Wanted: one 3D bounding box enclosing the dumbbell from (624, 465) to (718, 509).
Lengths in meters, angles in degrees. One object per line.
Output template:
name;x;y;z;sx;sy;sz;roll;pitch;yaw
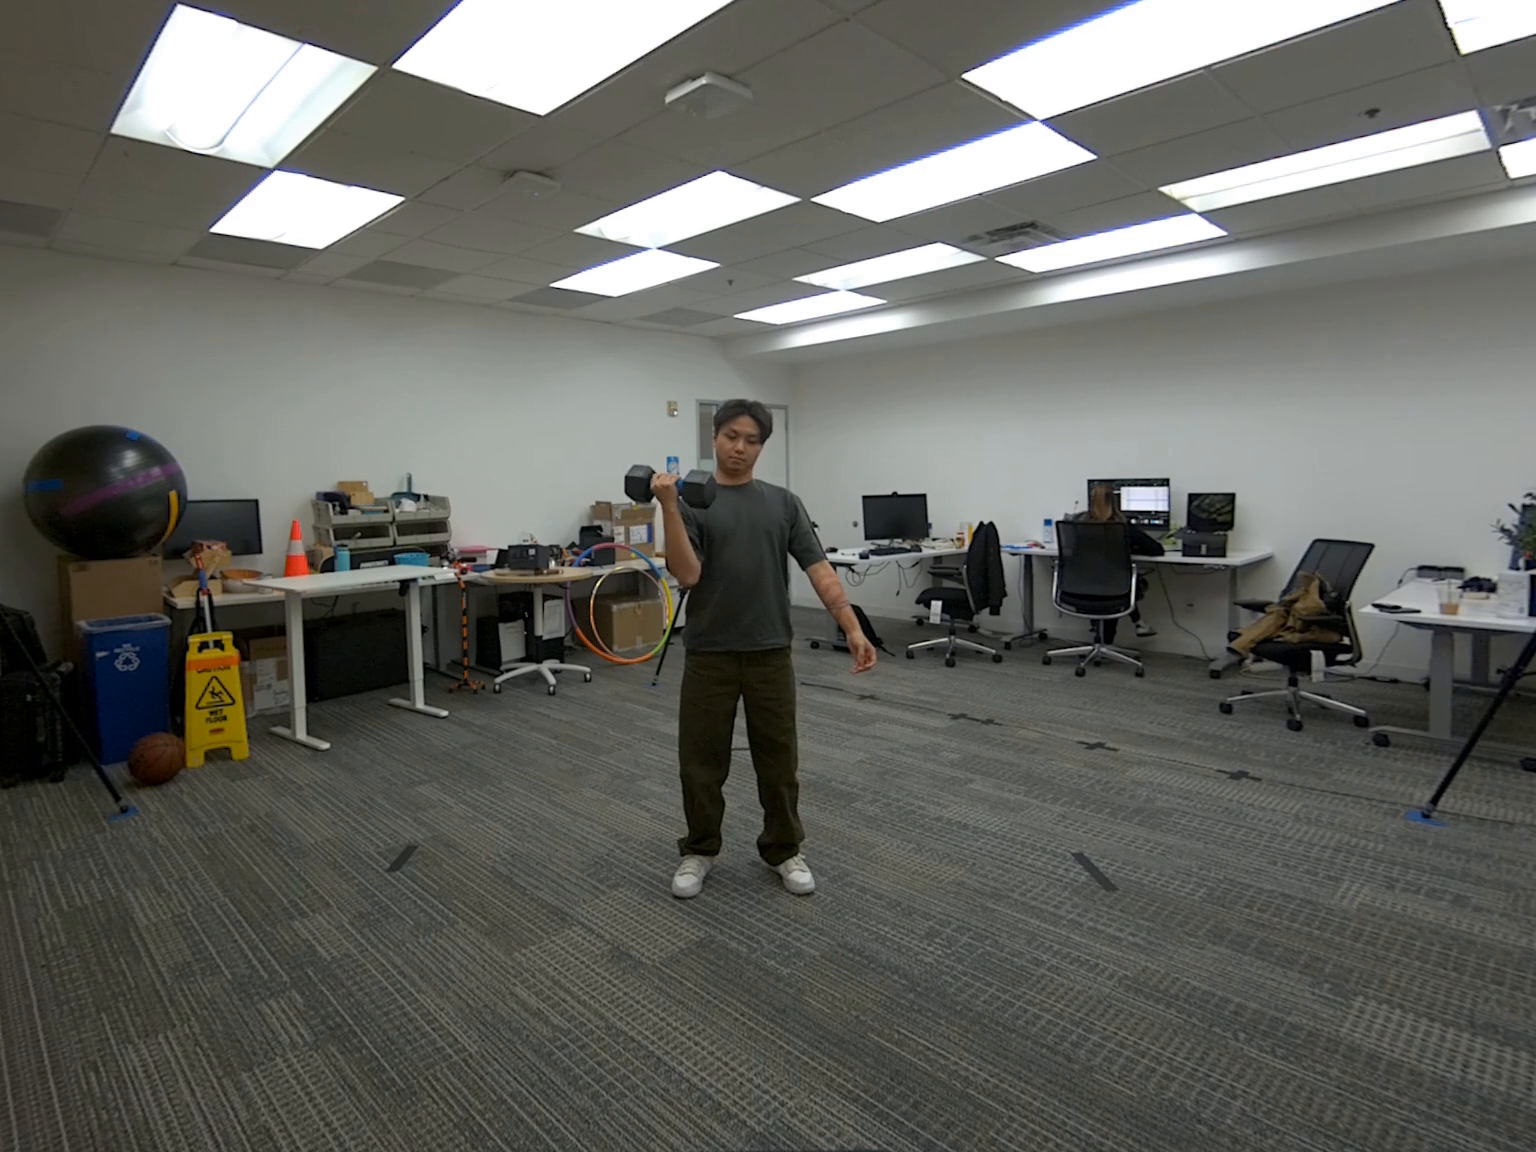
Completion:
dumbbell;-0.318;-0.284;2.740;0.300;0.105;0.124;8;44;23
